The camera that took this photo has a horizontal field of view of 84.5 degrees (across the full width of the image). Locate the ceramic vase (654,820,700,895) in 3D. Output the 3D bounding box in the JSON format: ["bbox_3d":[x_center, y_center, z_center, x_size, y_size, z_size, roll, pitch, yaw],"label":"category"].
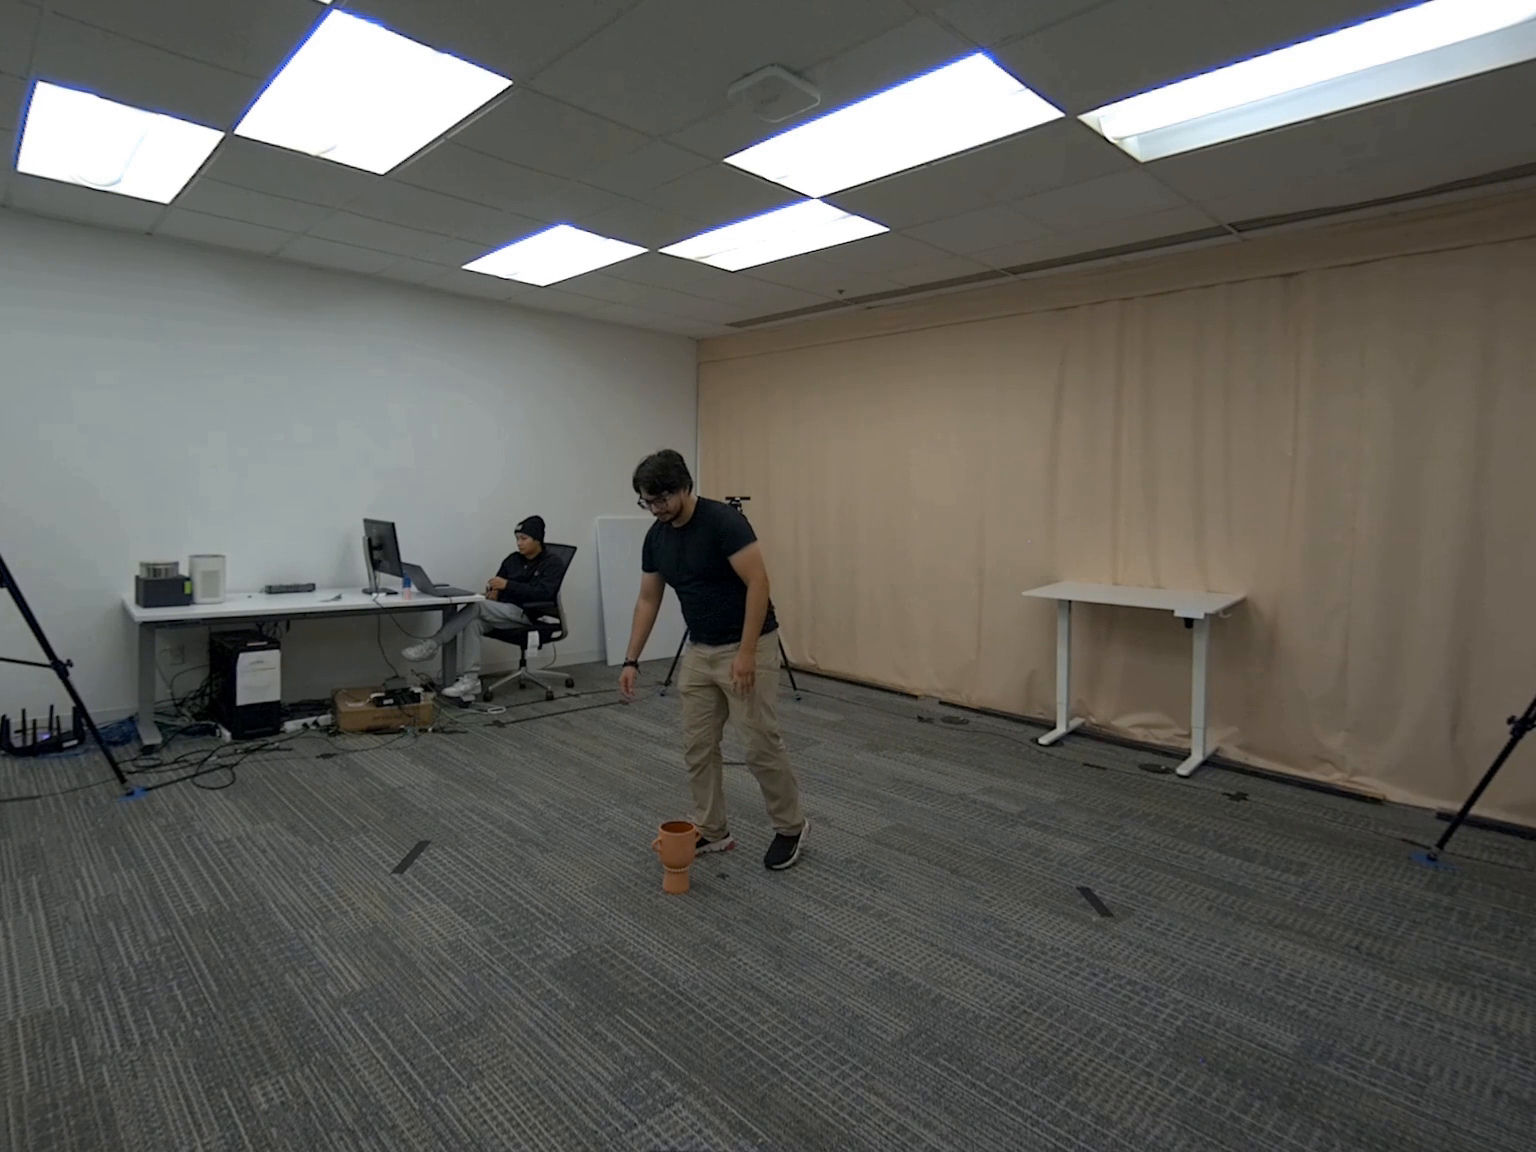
[{"bbox_3d":[-0.337,1.003,2.991,0.160,0.219,0.134,1,5,6],"label":"ceramic vase"}]
